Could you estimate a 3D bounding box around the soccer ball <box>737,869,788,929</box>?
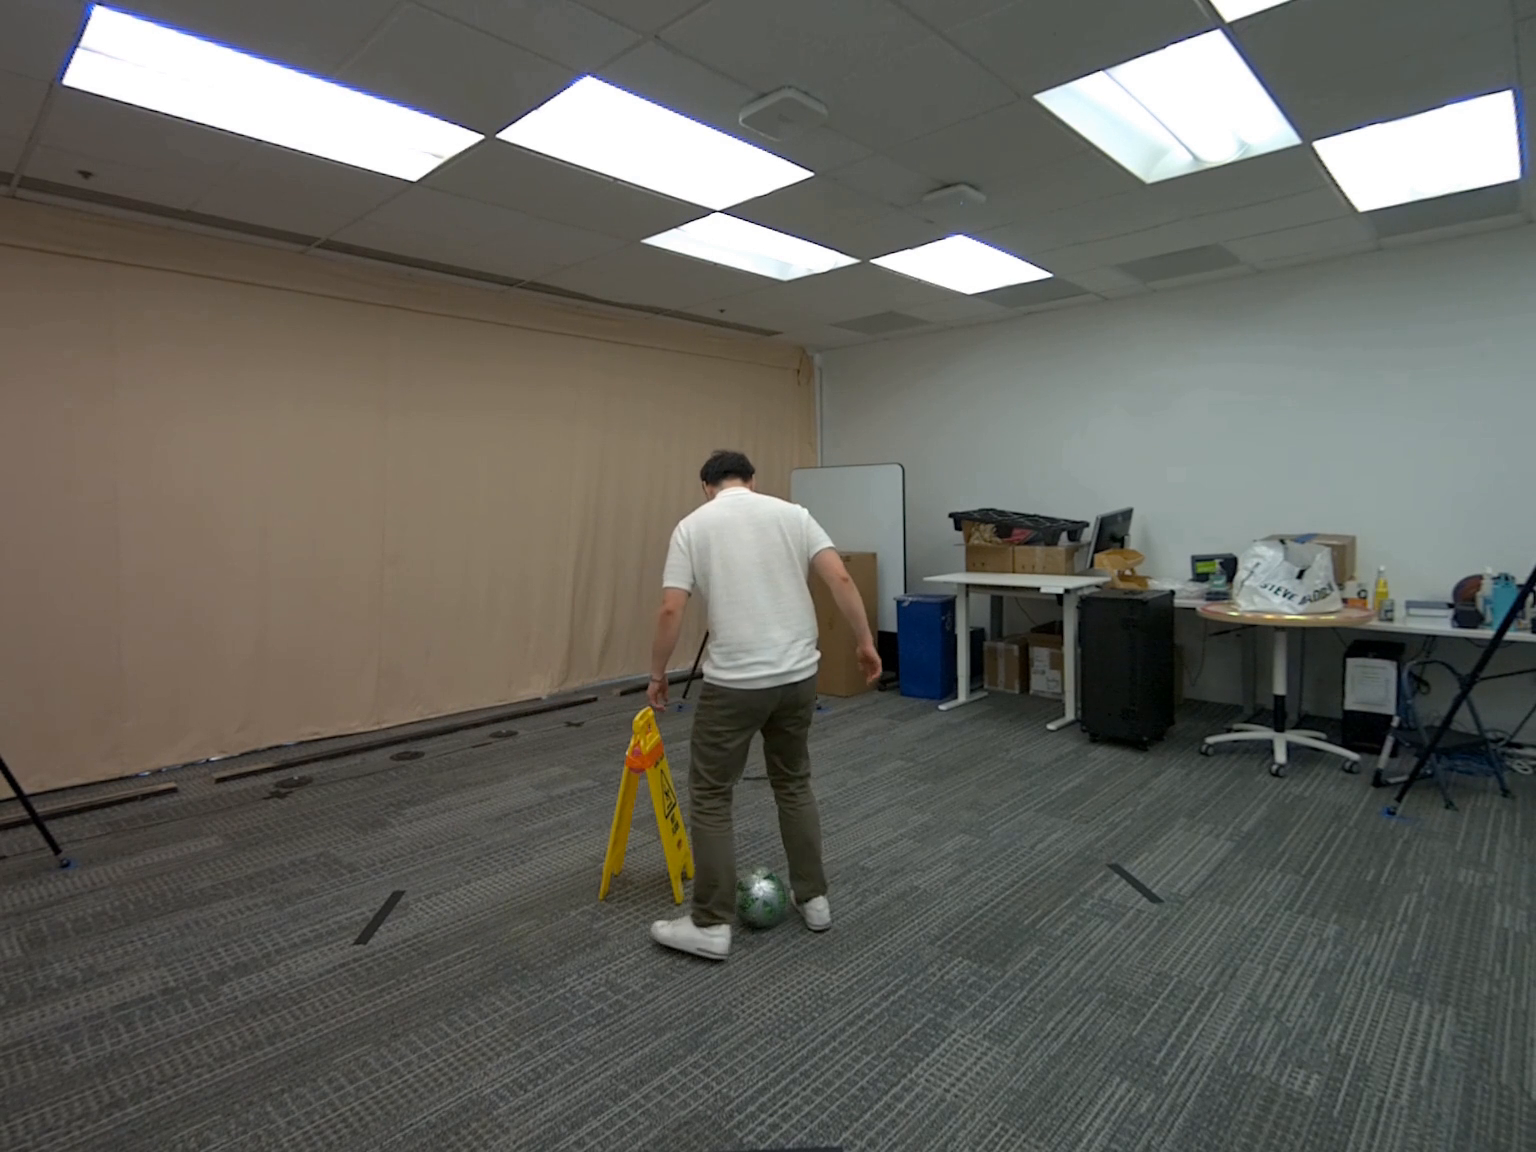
[{"bbox_3d":[-0.016,1.066,2.809,0.187,0.187,0.188,-1,4,-2],"label":"soccer ball"}]
